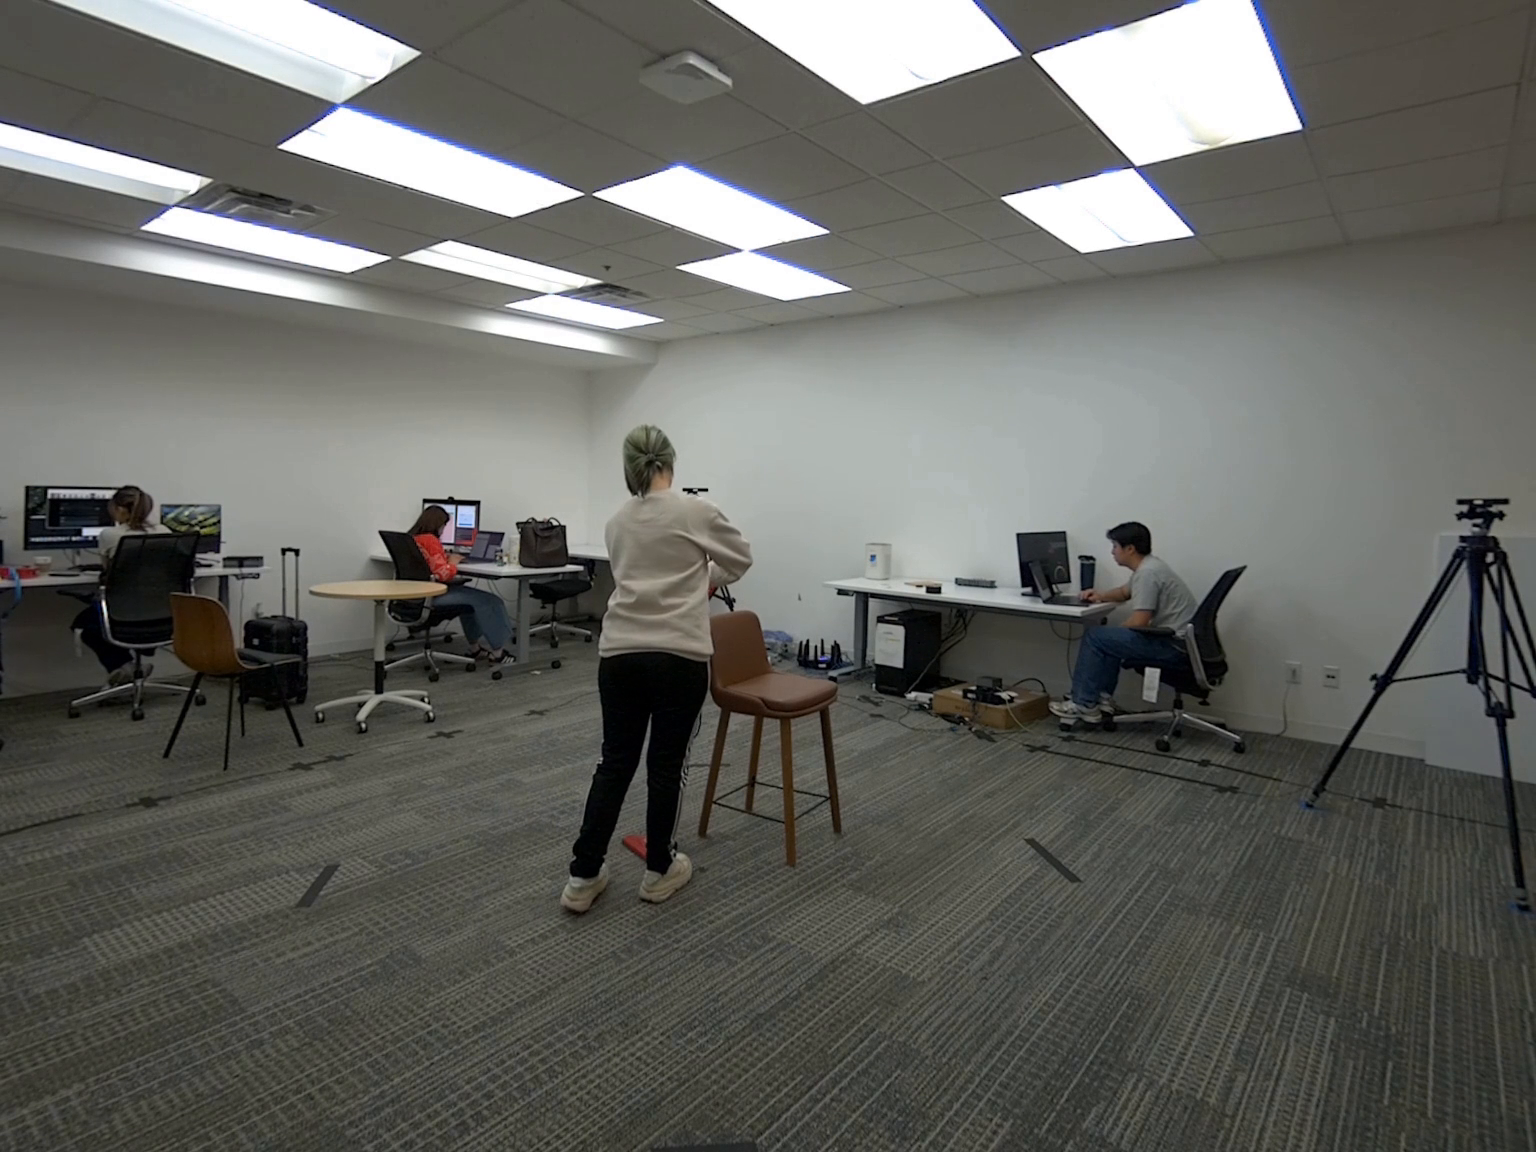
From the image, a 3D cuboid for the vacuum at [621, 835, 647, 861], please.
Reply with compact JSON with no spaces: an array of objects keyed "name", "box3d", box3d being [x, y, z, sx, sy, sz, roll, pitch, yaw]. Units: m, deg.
[{"name":"vacuum","box3d":[-0.338,0.542,3.302,0.139,1.053,0.261,15,-6,-40]}]
